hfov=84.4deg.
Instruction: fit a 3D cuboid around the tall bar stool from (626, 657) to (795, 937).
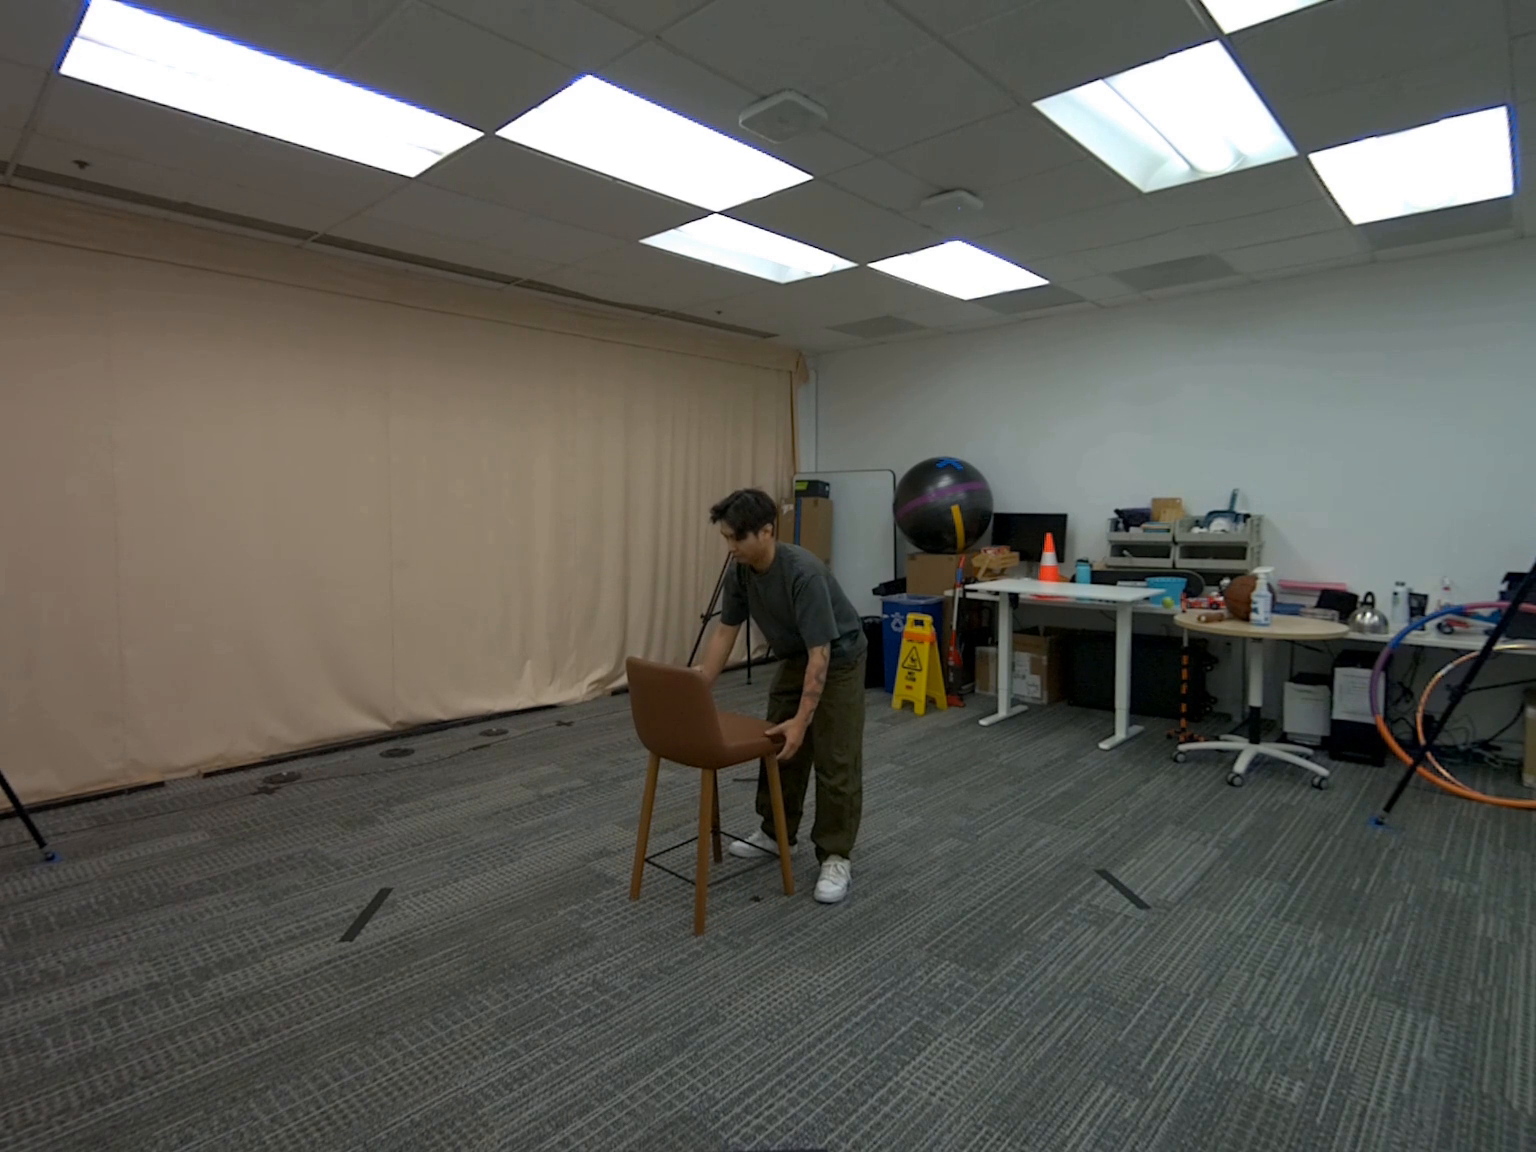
[{"bbox_3d":[-0.205,0.707,2.978,0.454,0.887,0.472,-6,6,-44],"label":"tall bar stool"}]
